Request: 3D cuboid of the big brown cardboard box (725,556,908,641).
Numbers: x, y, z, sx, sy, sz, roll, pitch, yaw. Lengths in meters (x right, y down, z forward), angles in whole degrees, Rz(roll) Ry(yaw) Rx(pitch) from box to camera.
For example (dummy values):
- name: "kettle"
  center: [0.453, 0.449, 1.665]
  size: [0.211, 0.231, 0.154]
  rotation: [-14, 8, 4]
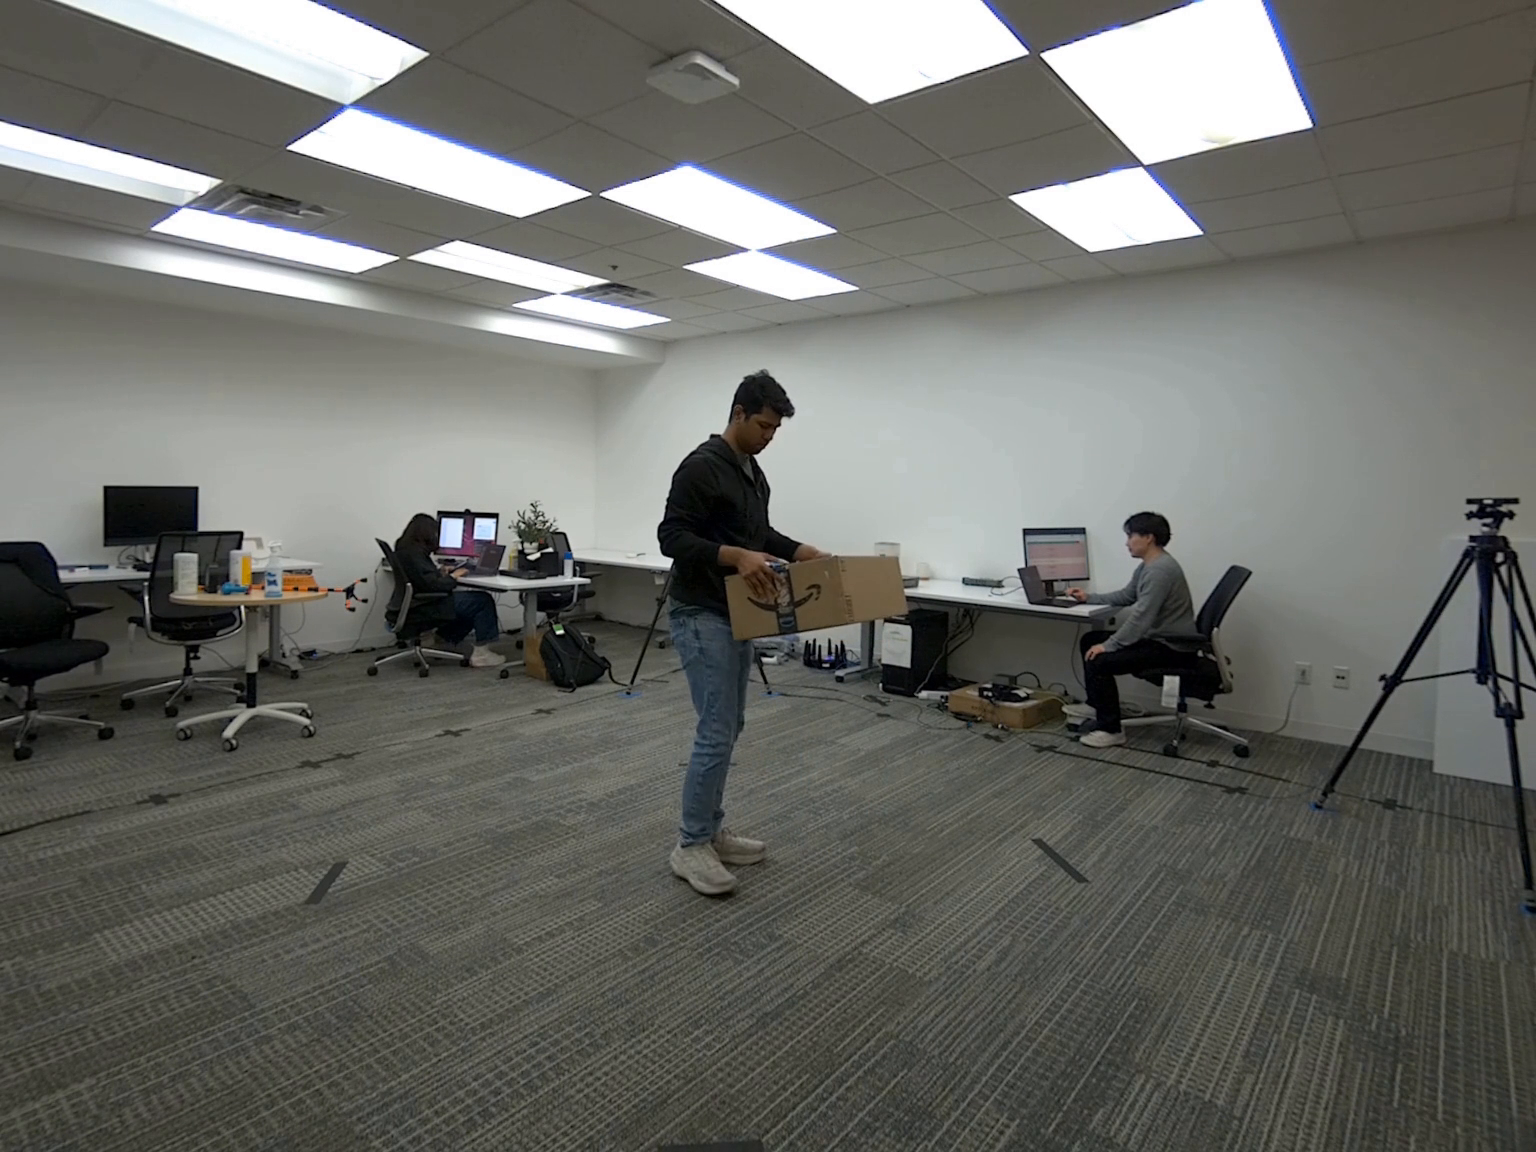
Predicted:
- name: "big brown cardboard box"
  center: [0.164, 0.066, 2.944]
  size: [0.427, 0.235, 0.572]
  rotation: [-10, -5, 29]
